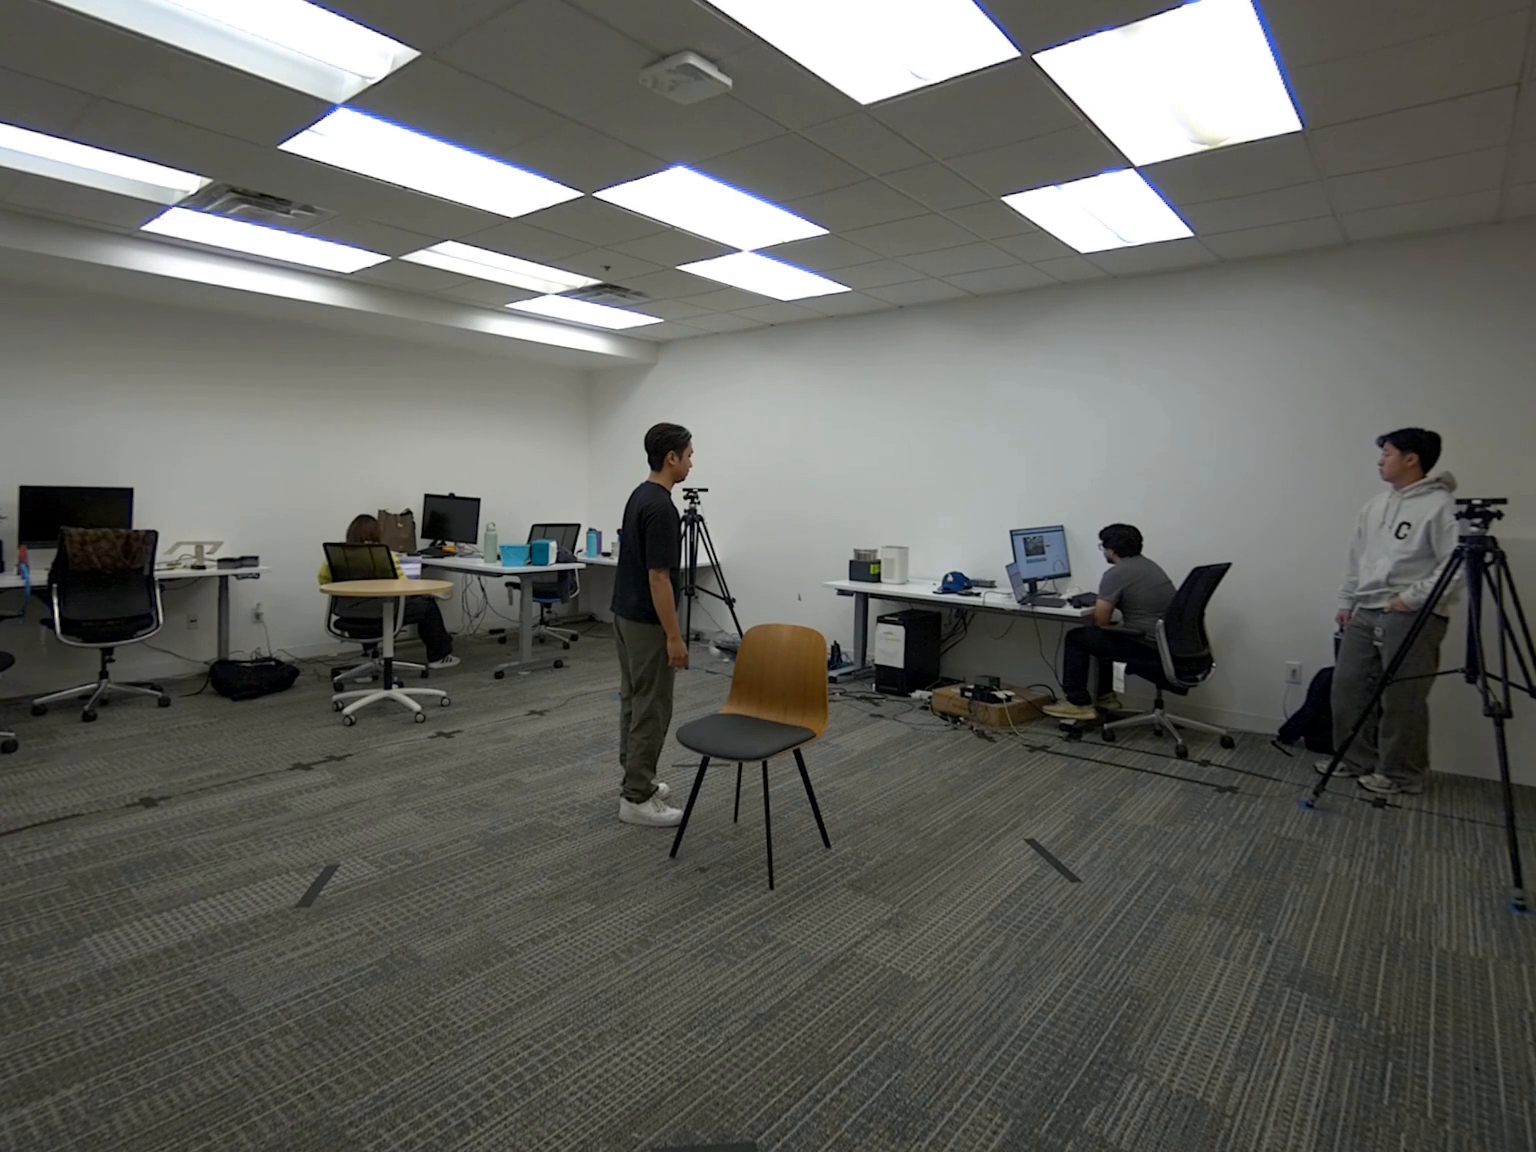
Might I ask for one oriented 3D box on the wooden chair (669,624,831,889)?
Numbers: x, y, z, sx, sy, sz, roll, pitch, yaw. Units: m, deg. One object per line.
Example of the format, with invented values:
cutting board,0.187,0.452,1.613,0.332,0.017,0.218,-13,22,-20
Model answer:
wooden chair,-0.063,0.632,3.229,0.493,0.878,0.507,4,0,32
